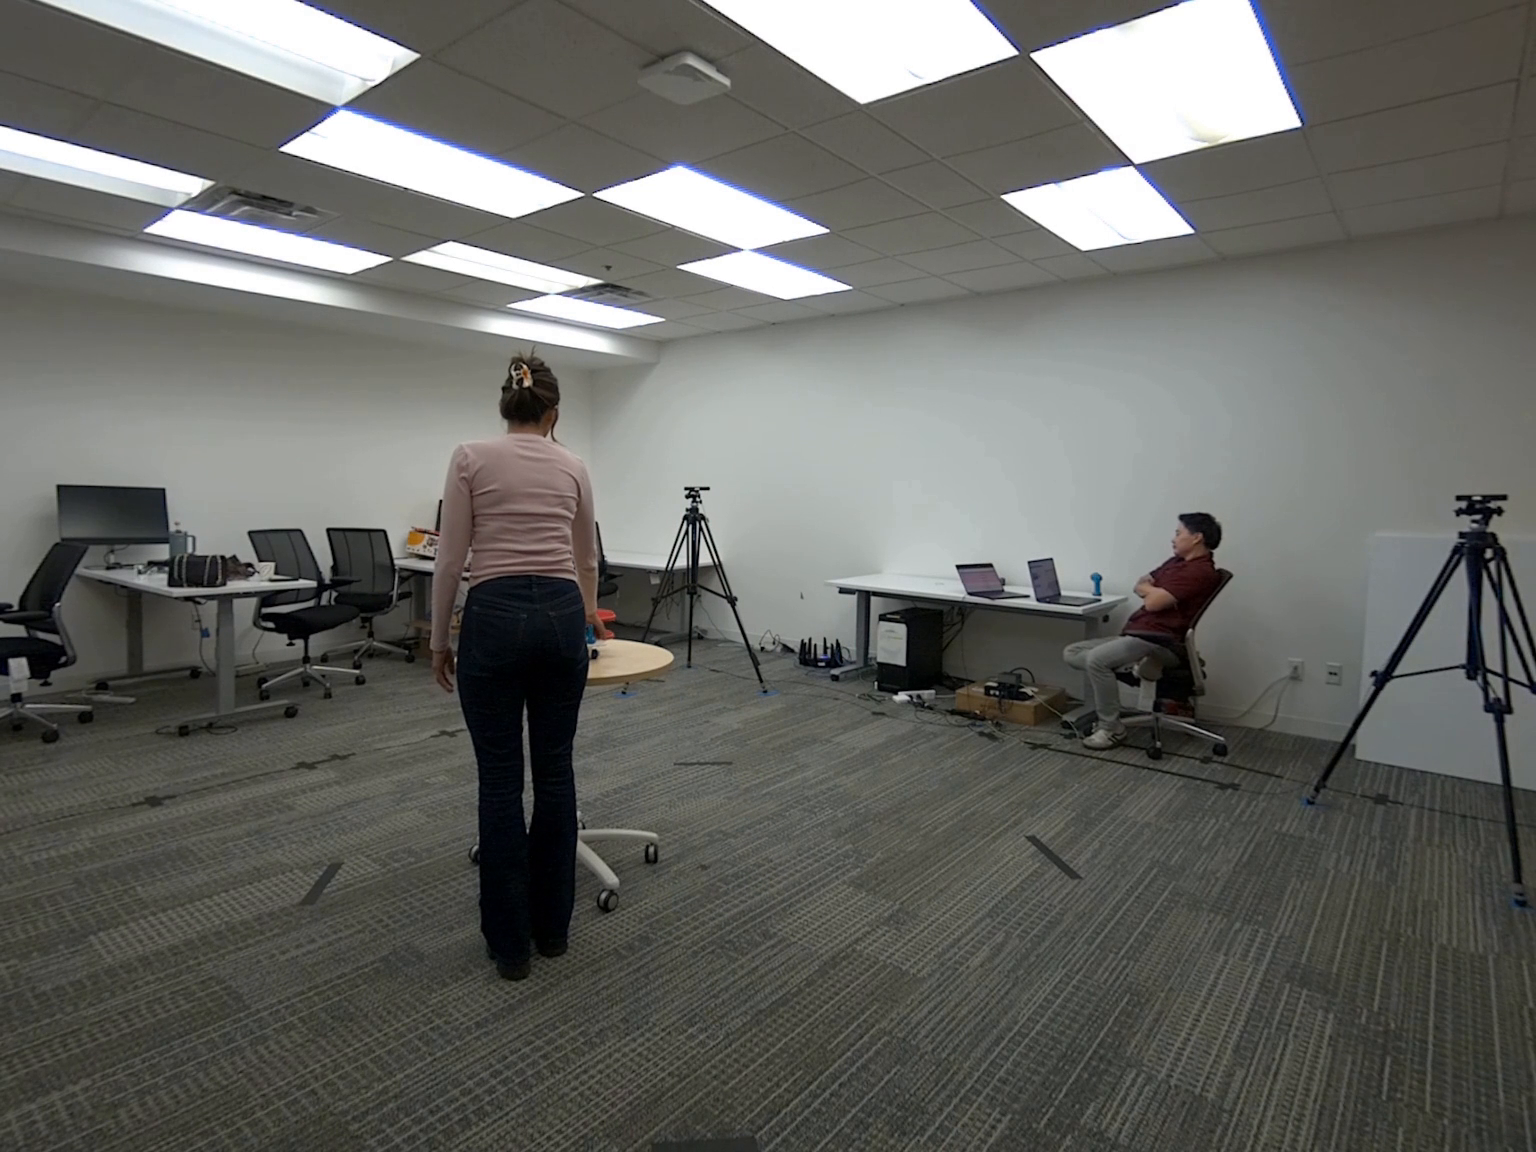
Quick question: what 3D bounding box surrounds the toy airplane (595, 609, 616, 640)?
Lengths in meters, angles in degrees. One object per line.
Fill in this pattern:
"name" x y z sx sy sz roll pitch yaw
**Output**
"toy airplane" -0.663 0.205 3.068 0.268 0.156 0.243 5 6 41
